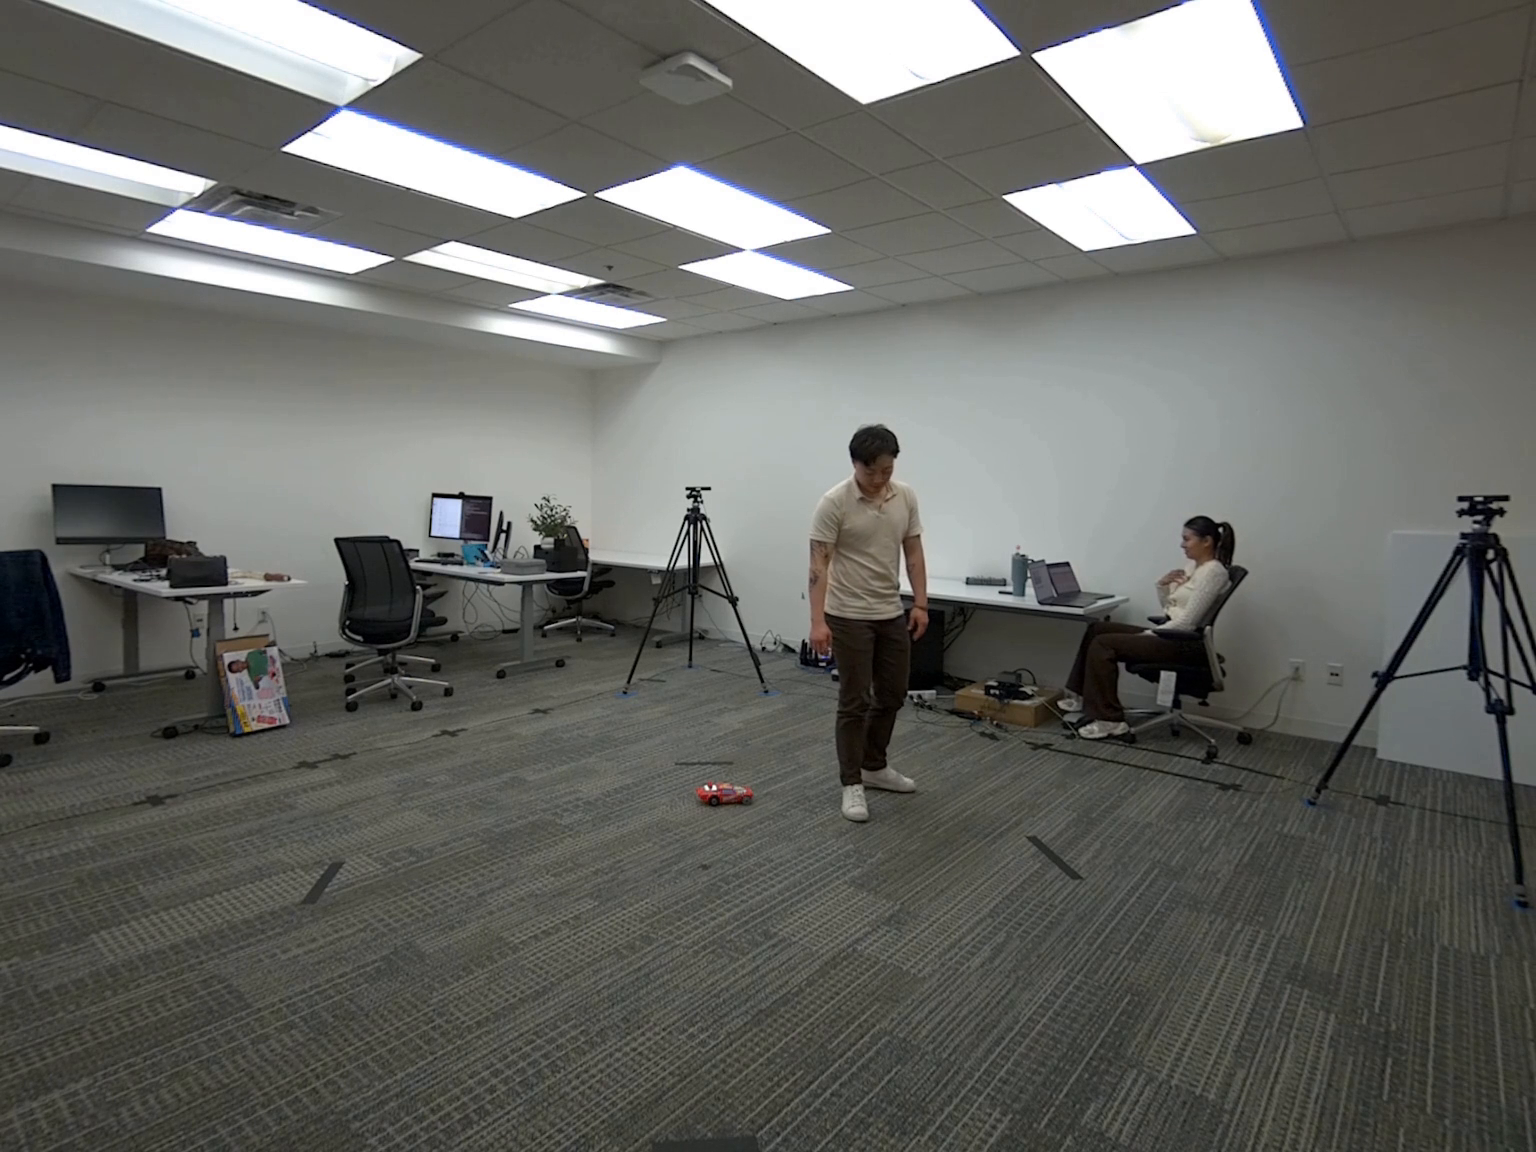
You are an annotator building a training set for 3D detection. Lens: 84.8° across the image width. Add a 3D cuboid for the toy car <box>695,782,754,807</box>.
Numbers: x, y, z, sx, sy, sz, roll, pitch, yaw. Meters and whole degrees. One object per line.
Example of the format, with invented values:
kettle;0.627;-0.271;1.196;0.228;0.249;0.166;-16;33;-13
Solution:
toy car;-0.209;0.968;3.780;0.251;0.083;0.132;11;3;-11
